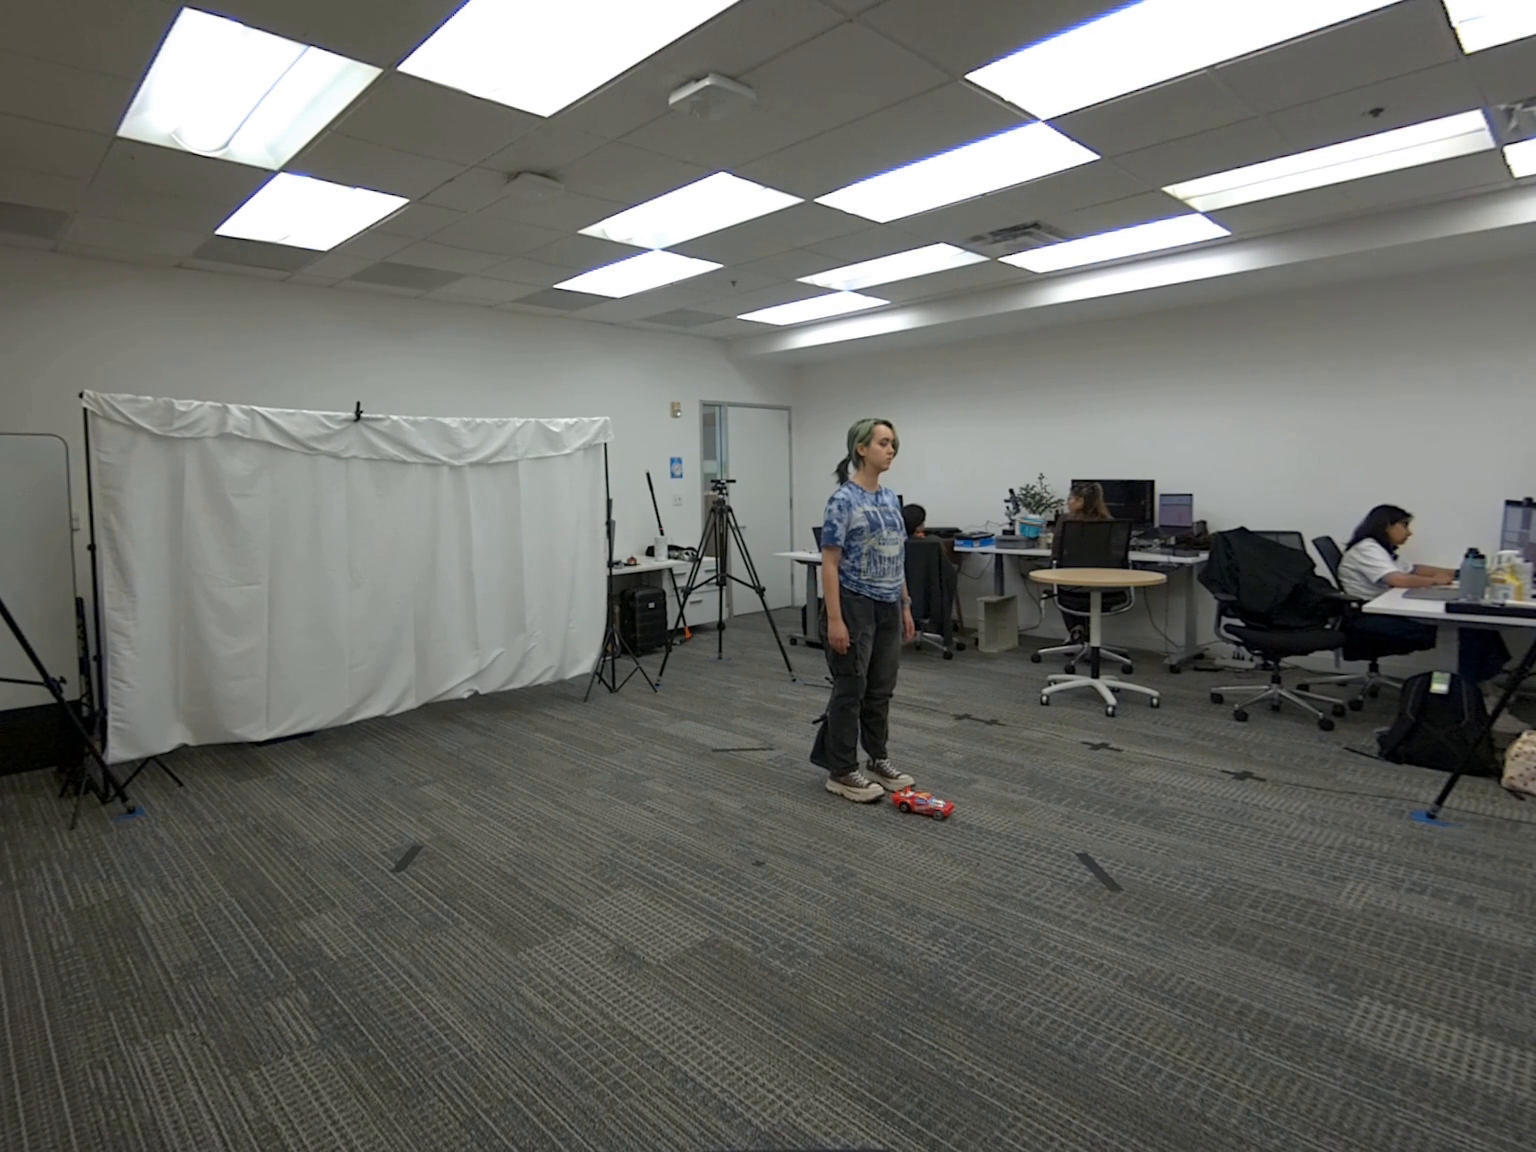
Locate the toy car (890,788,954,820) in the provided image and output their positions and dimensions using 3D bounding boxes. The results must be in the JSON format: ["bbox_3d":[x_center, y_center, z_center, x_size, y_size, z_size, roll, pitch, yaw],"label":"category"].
[{"bbox_3d":[0.641,0.956,3.570,0.263,0.082,0.127,16,14,32],"label":"toy car"}]
